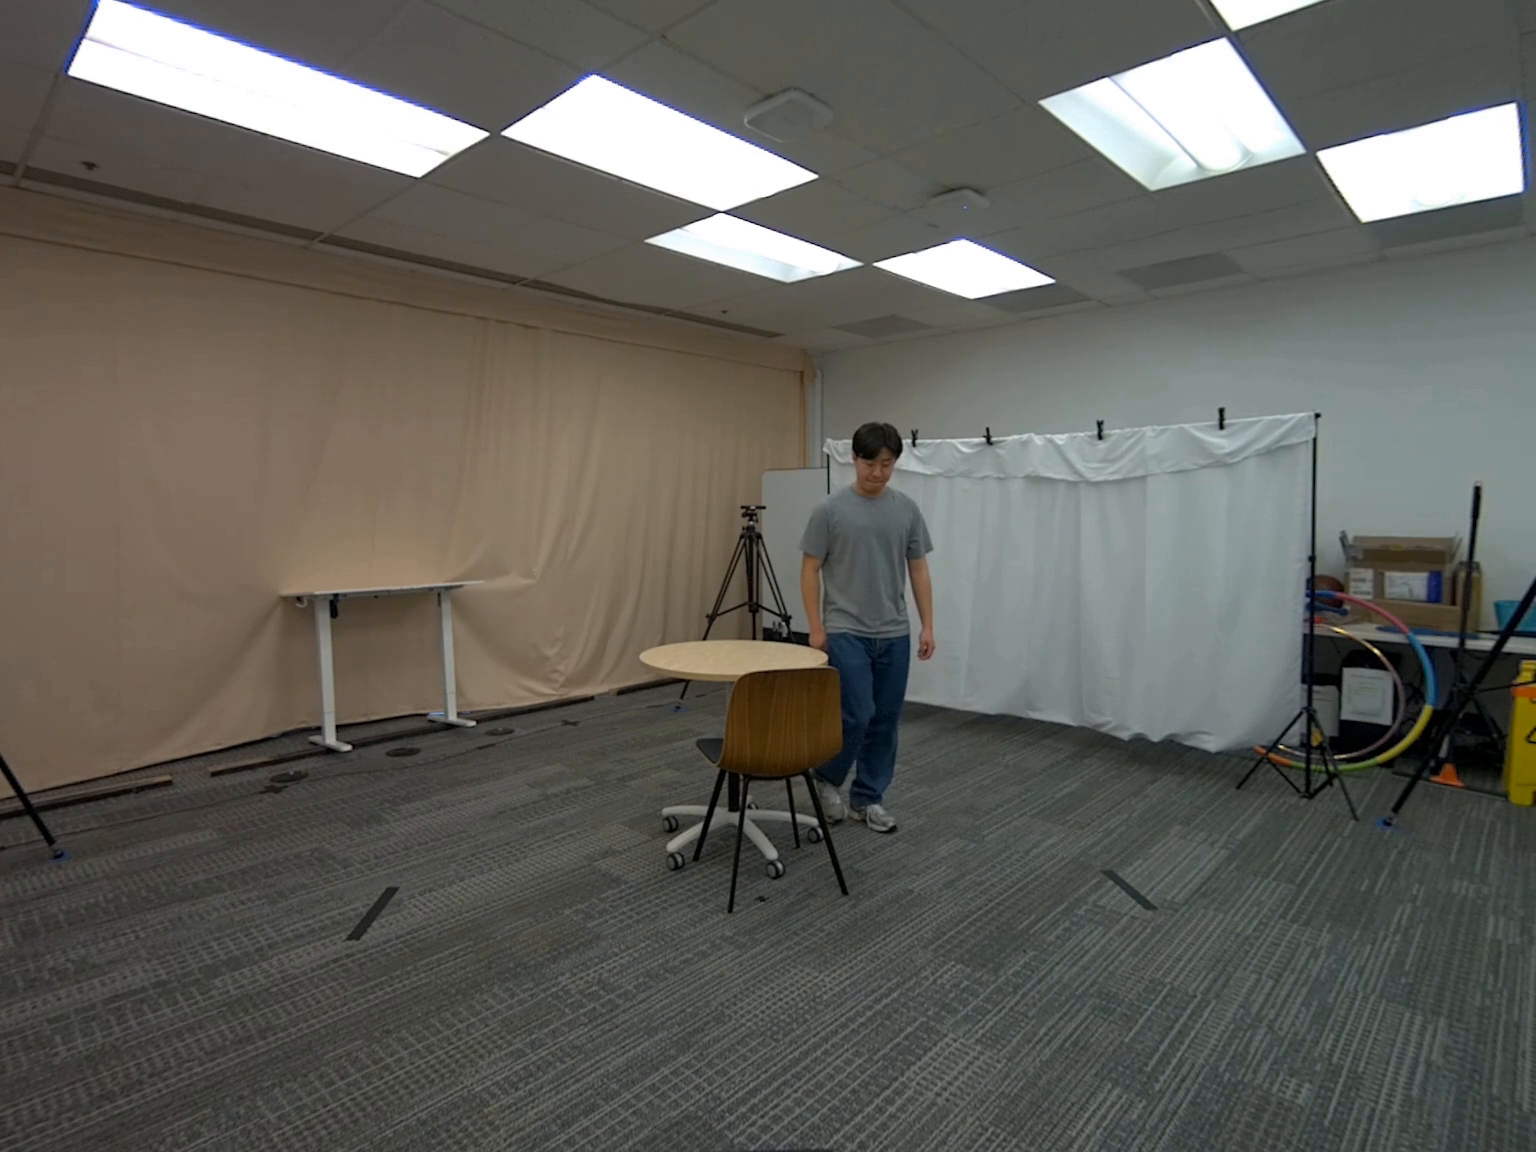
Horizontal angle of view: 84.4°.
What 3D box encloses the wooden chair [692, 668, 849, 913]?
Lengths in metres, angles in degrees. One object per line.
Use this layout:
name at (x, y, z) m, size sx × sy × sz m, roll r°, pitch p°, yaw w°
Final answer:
wooden chair at (-0.005, 0.701, 3.127) m, size 0.469 × 0.873 × 0.535 m, roll -1°, pitch 8°, yaw -19°
